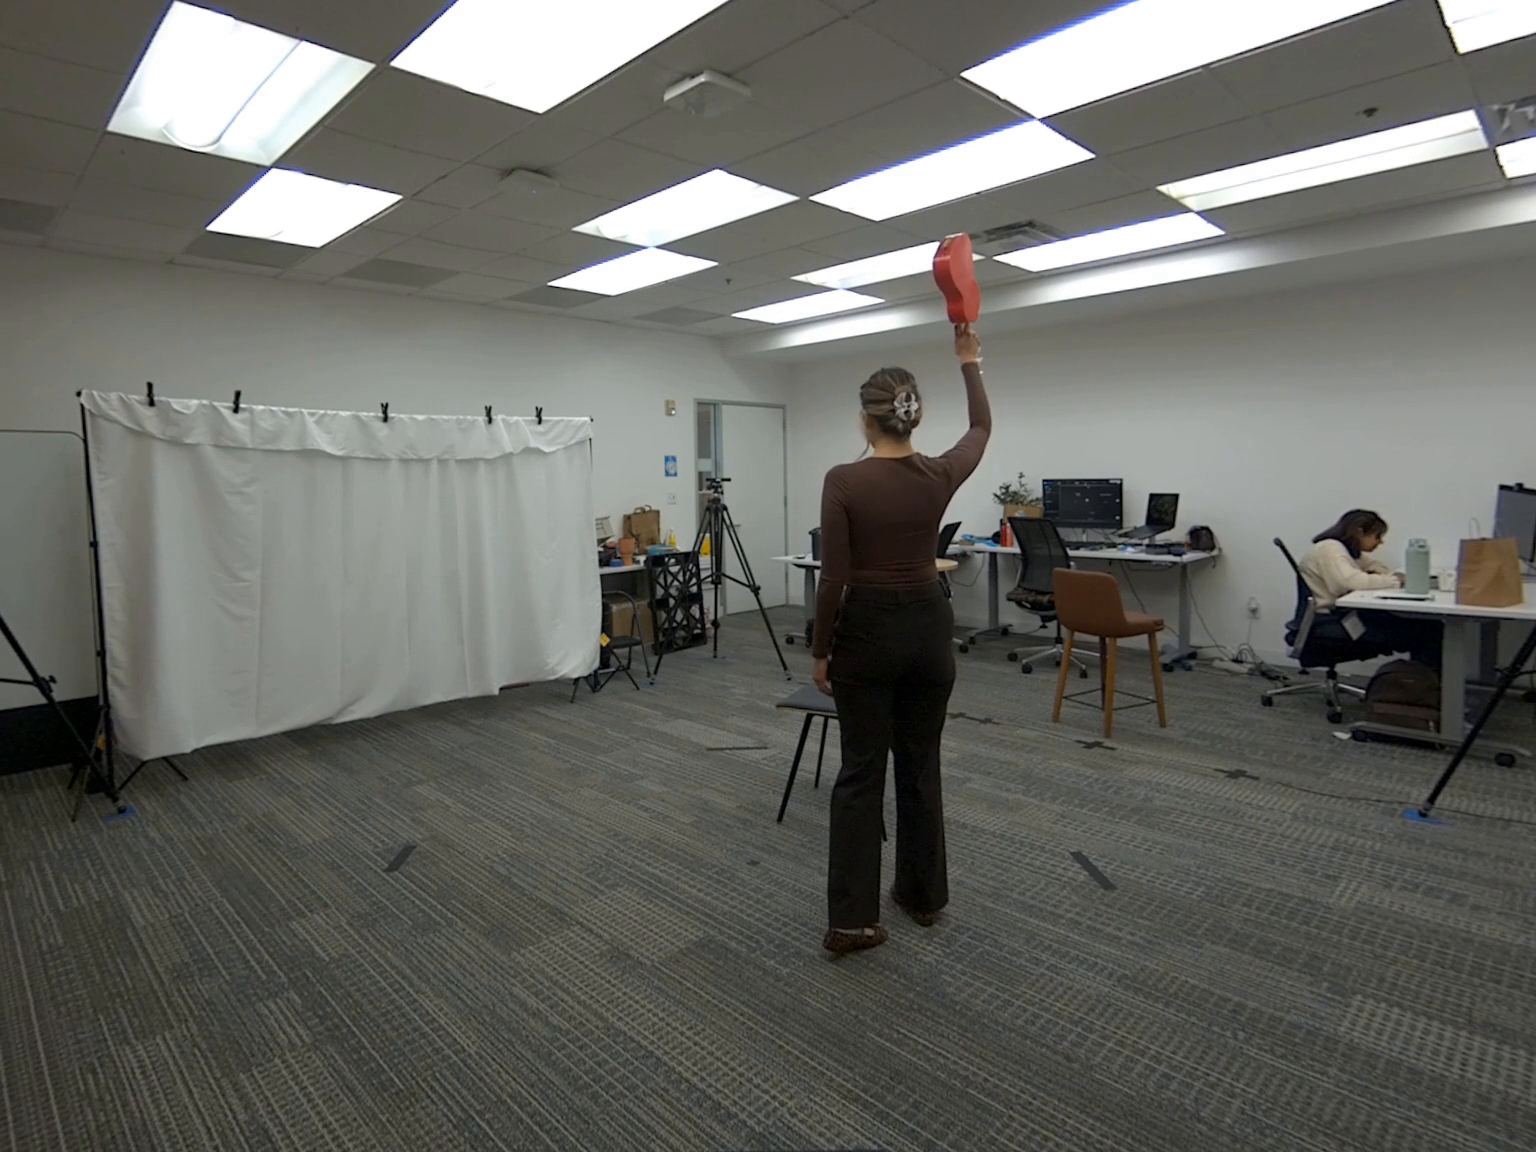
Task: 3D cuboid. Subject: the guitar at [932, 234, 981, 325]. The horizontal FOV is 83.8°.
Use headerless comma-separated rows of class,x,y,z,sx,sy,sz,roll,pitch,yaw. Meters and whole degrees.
guitar,0.650,-0.875,2.783,0.073,0.195,0.479,4,-35,33
